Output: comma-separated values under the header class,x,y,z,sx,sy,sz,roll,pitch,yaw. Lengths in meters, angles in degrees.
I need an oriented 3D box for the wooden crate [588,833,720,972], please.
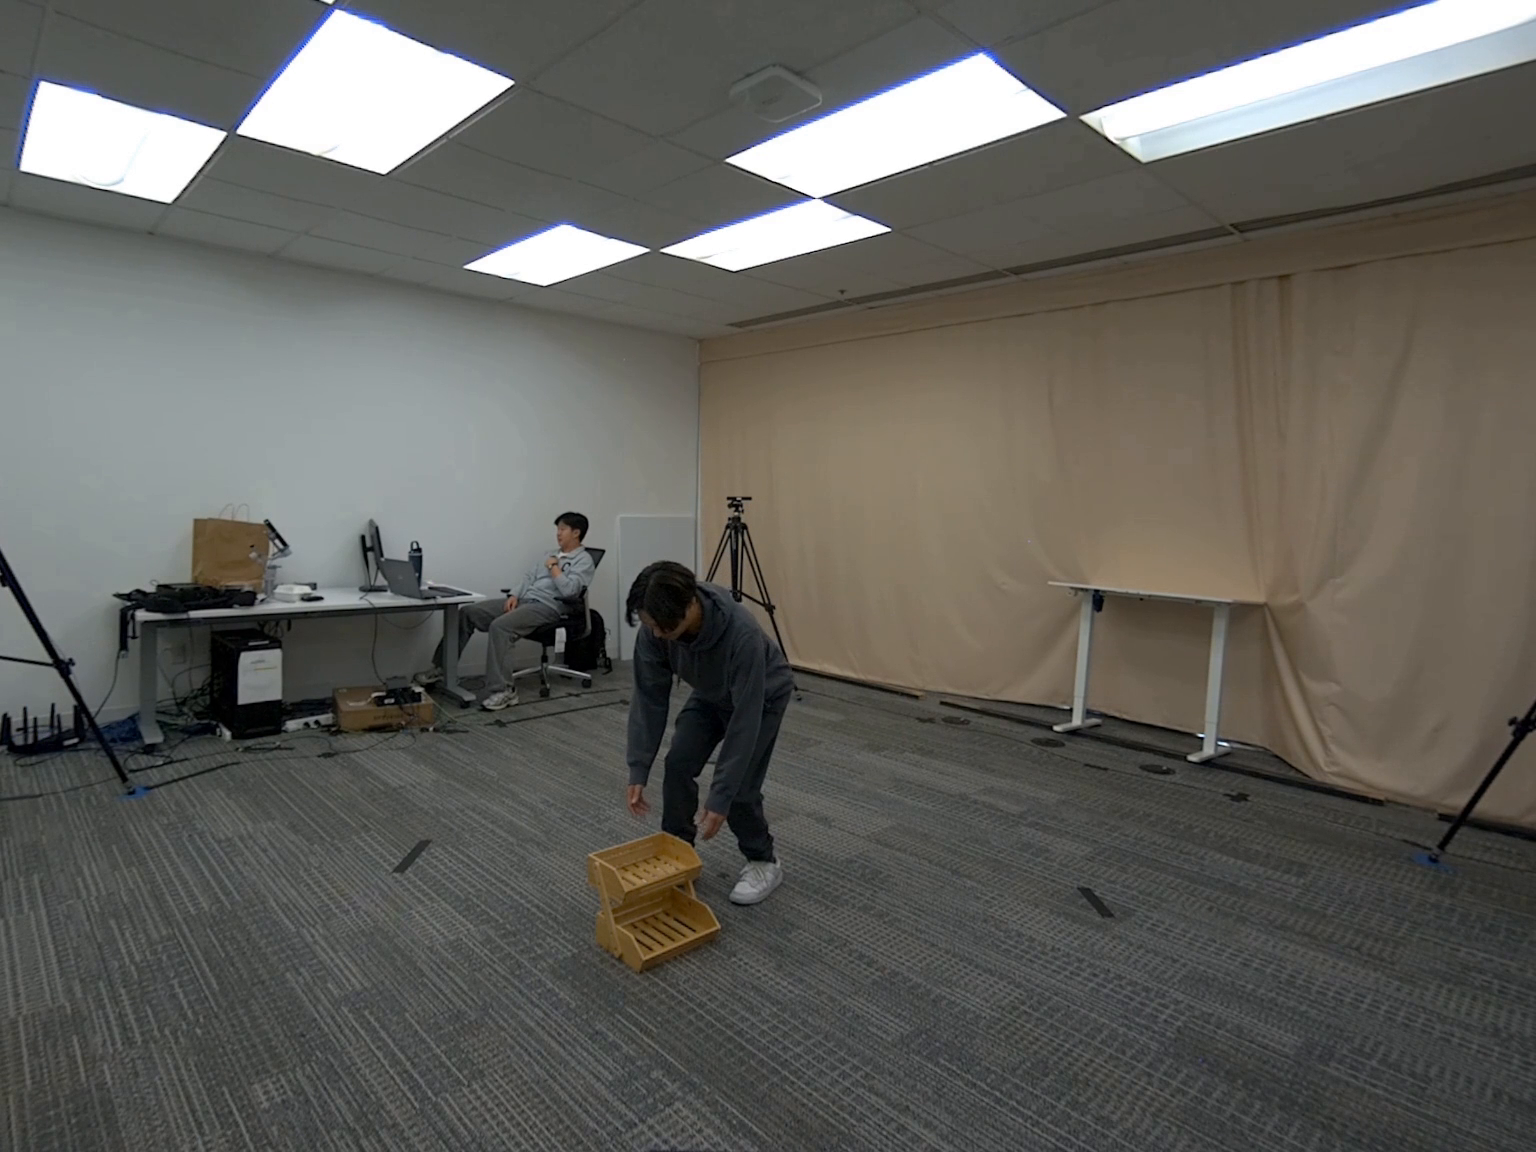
class,x,y,z,sx,sy,sz,roll,pitch,yaw
wooden crate,-0.360,1.009,2.646,0.317,0.273,0.309,-2,4,-44
